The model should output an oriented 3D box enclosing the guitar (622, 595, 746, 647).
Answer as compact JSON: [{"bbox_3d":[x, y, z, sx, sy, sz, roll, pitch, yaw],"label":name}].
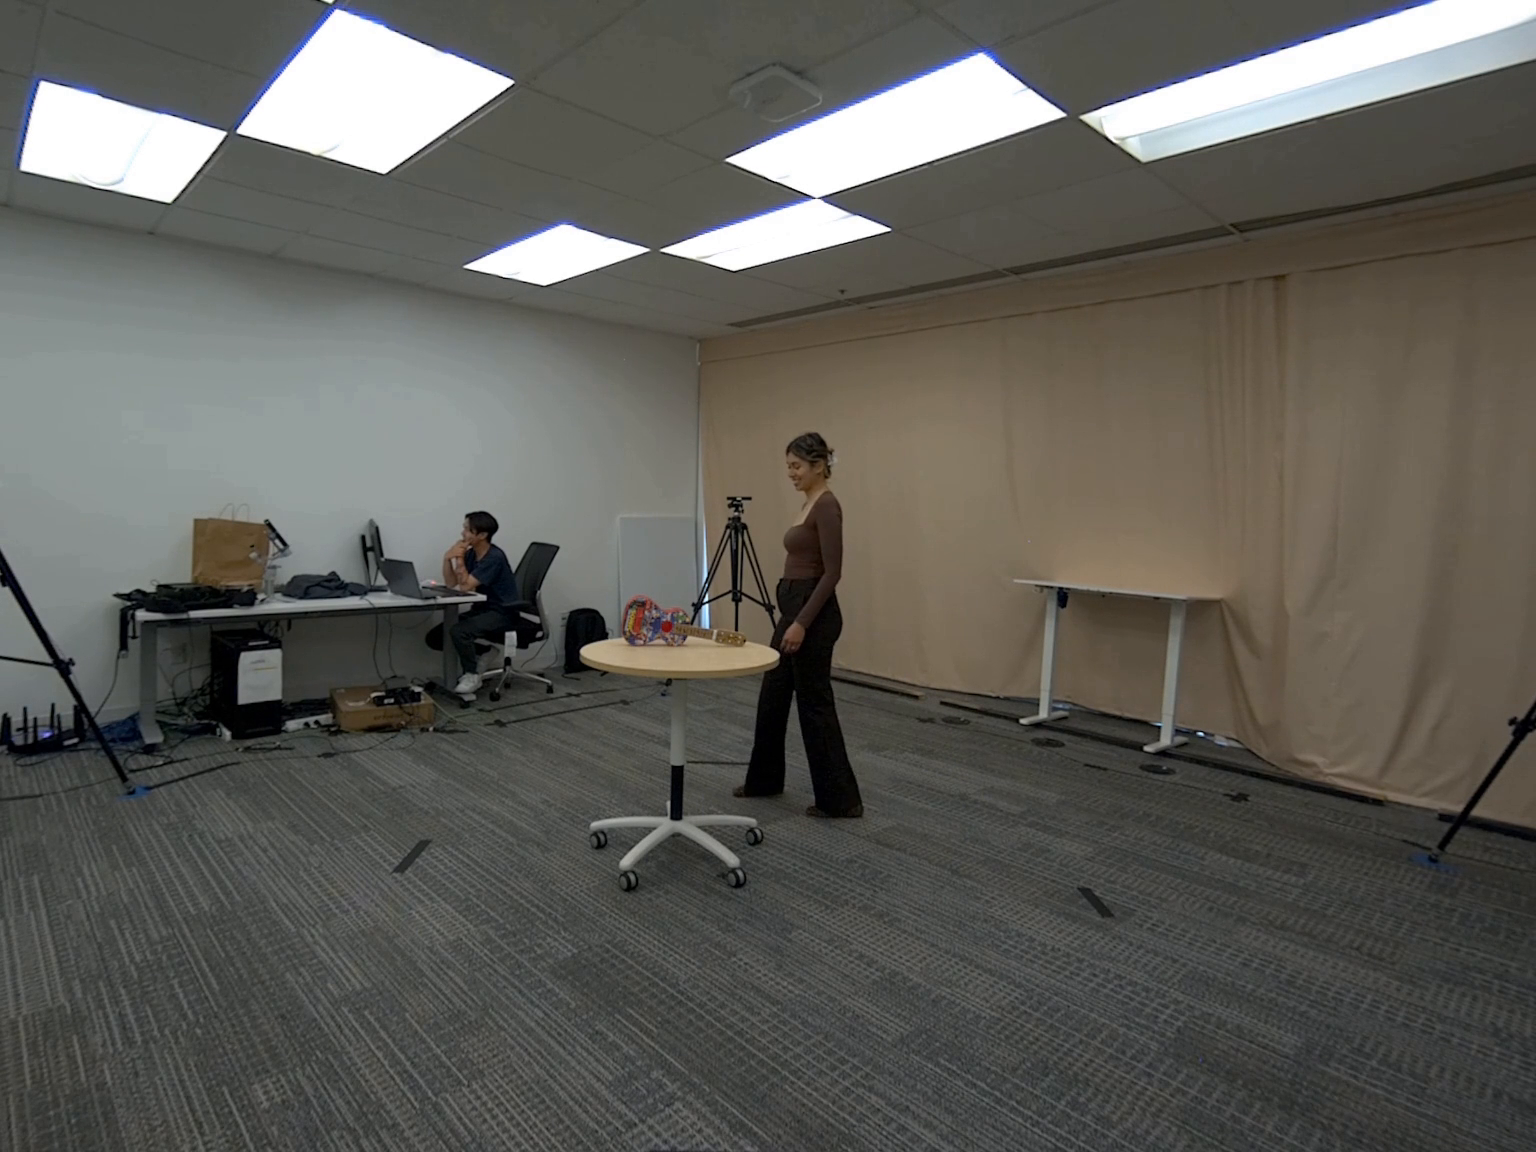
[{"bbox_3d":[-0.351,0.238,3.380,0.492,0.193,0.071,20,1,-11],"label":"guitar"}]
